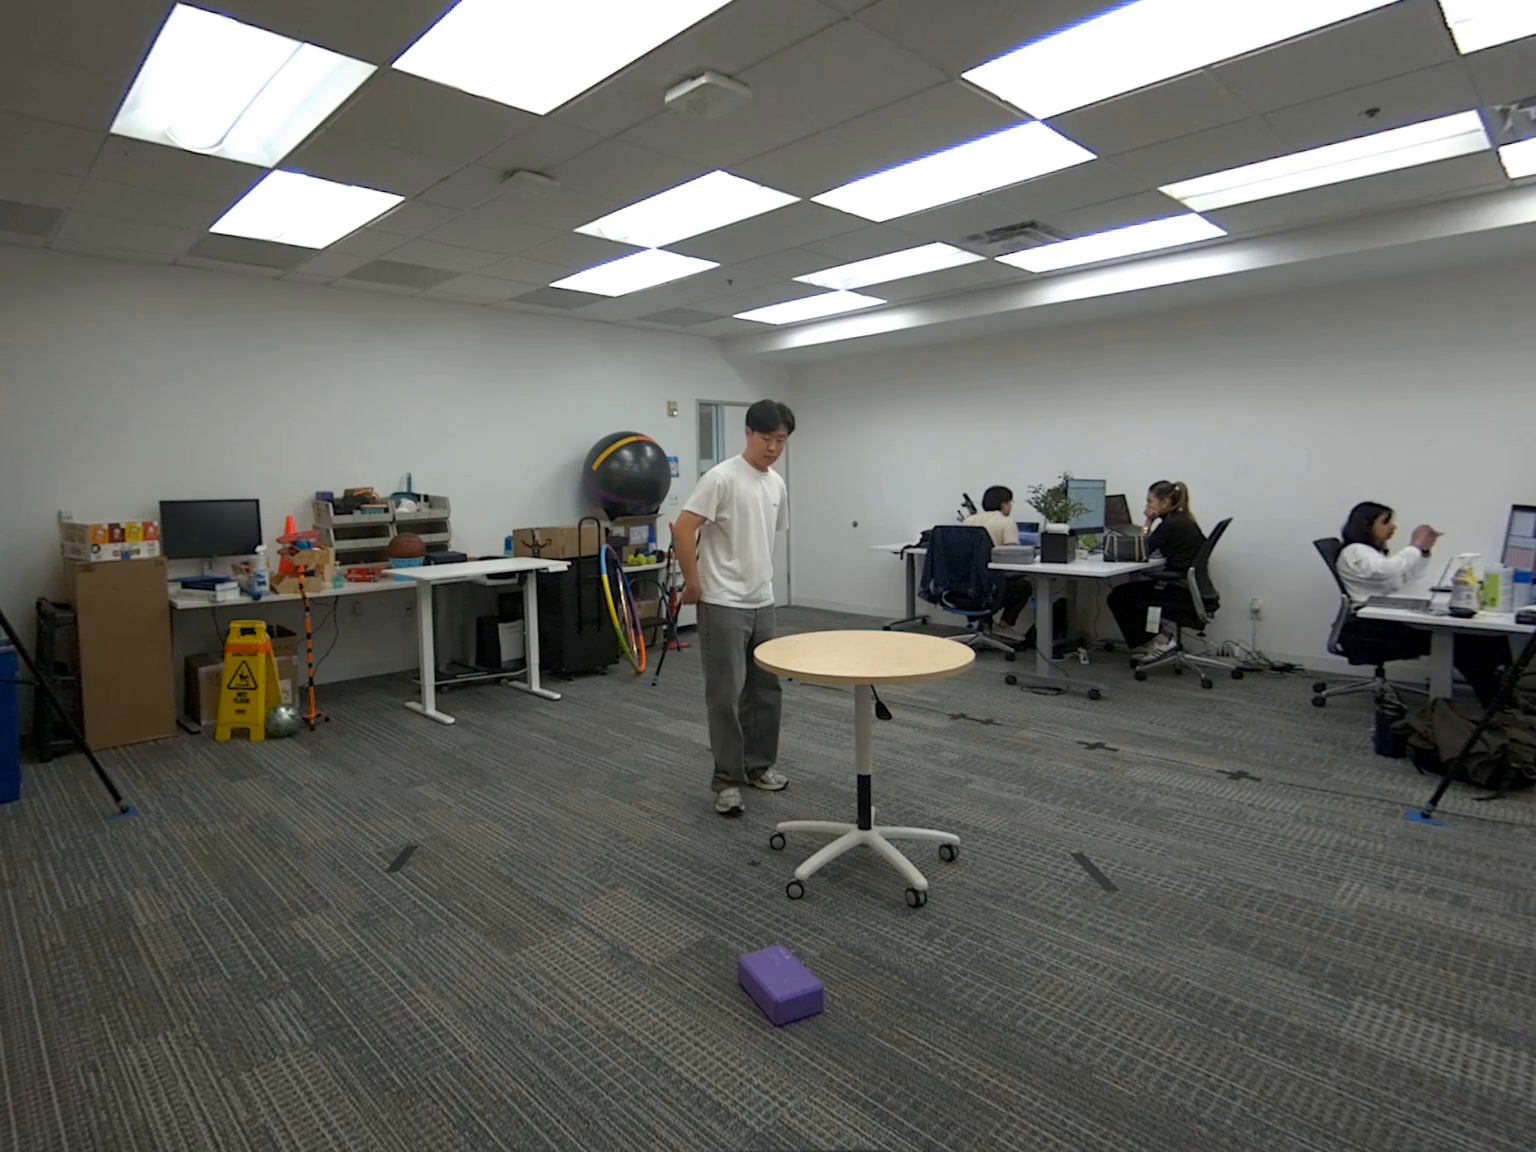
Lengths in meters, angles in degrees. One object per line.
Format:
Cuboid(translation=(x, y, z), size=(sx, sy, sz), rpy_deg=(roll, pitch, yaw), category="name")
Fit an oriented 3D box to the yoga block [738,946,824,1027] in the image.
Cuboid(translation=(0.035, 1.106, 2.309), size=(0.146, 0.076, 0.235), rpy_deg=(-4, 7, -27), category="yoga block")
